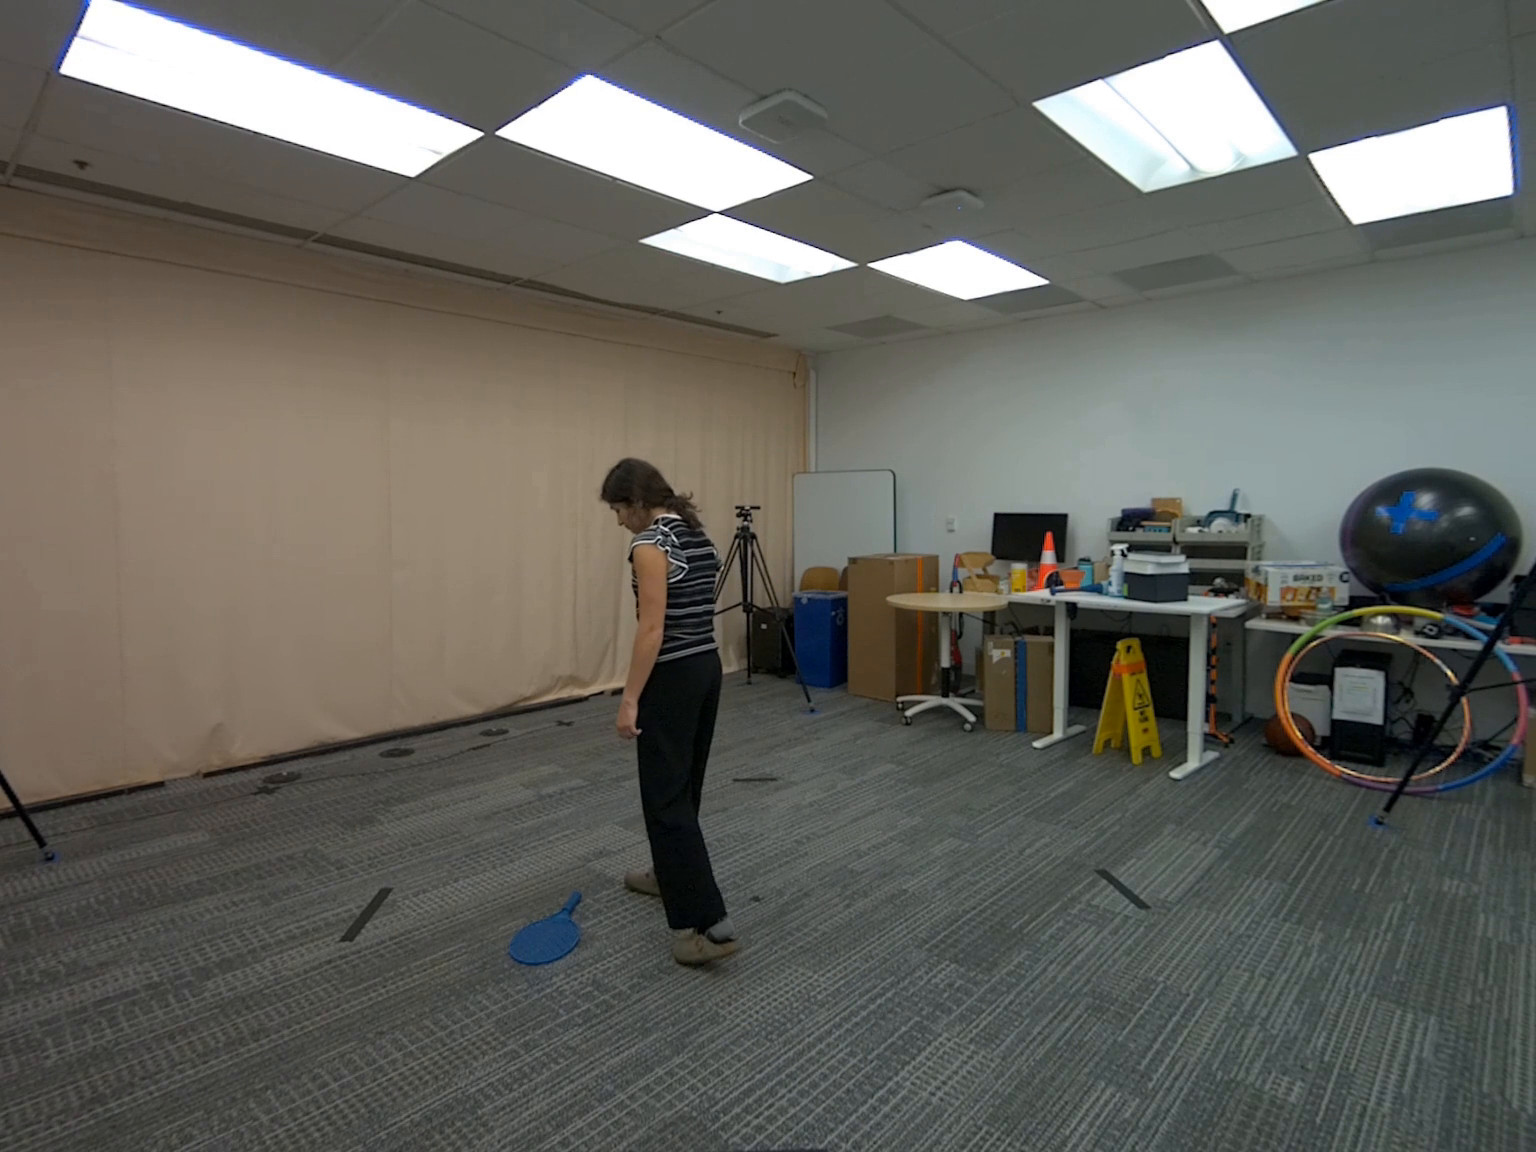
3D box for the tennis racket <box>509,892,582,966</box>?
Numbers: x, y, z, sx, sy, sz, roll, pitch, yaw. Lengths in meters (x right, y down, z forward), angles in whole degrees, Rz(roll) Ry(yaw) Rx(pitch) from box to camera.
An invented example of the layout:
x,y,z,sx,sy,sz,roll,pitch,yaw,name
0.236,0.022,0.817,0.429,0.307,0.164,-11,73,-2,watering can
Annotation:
x,y,z,sx,sy,sz,roll,pitch,yaw,name
-0.700,1.156,2.776,0.215,0.031,0.431,0,6,5,tennis racket
